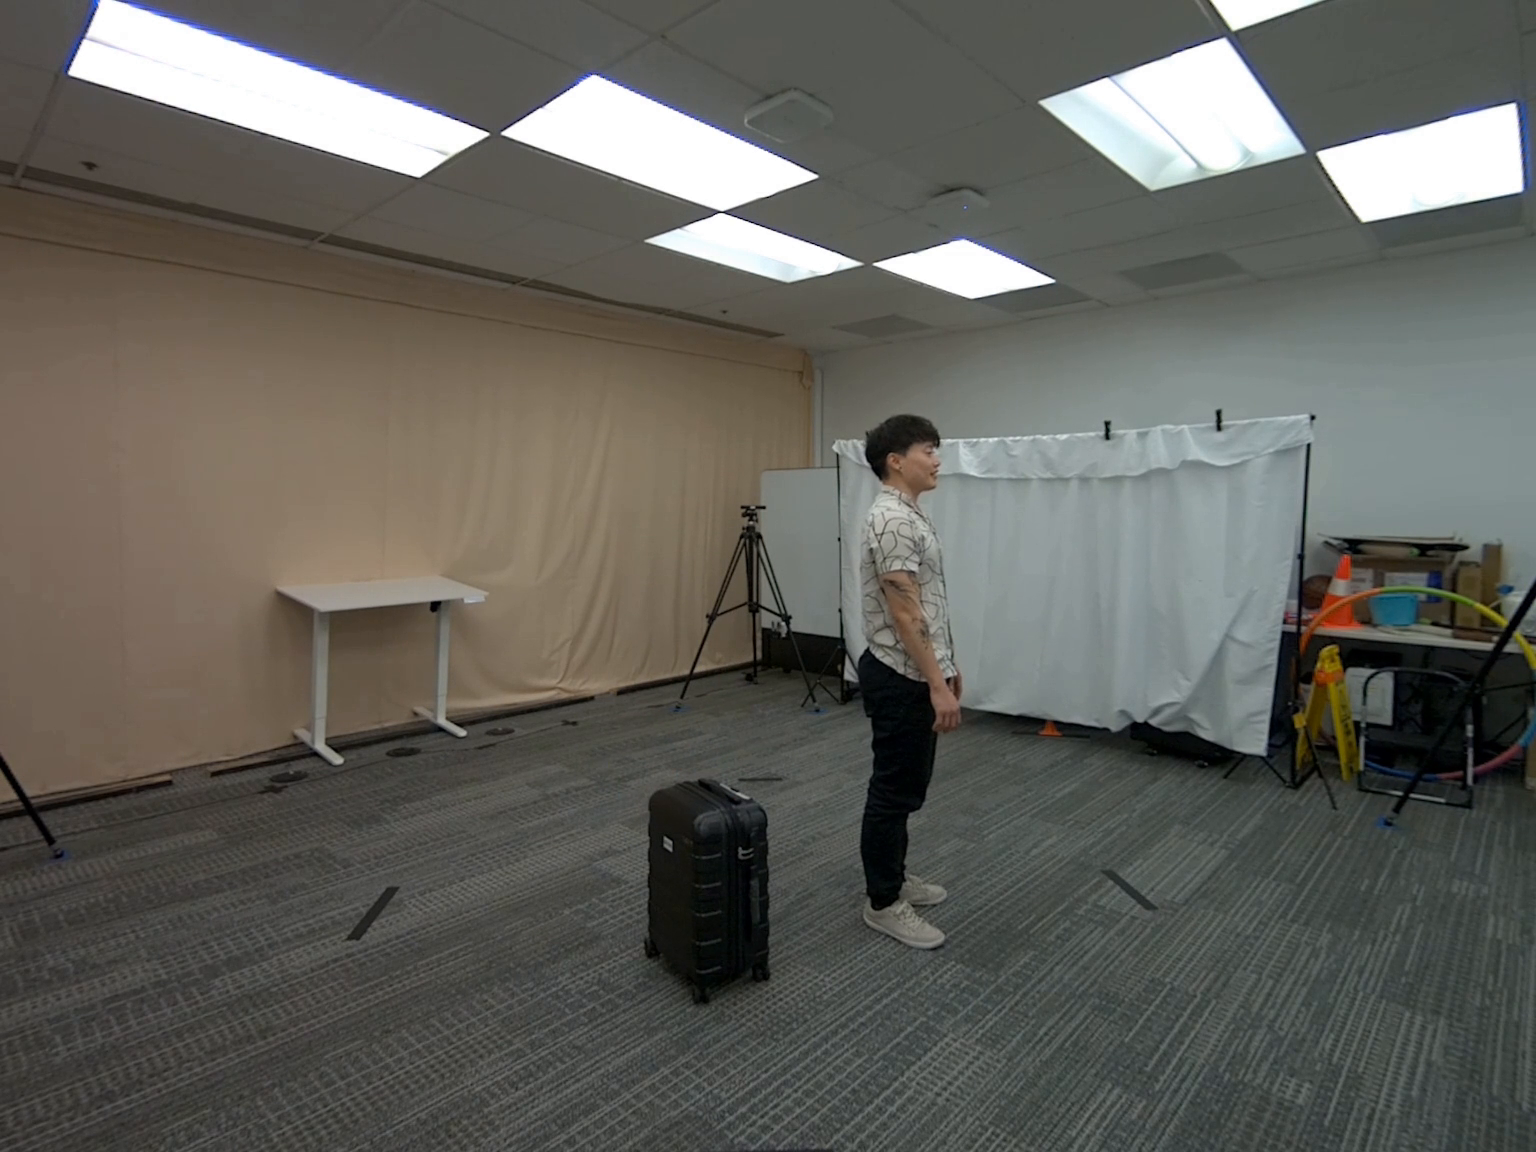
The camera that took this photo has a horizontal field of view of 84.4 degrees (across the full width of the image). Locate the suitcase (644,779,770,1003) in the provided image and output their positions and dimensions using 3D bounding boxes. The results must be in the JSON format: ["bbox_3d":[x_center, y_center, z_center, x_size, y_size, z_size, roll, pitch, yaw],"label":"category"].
[{"bbox_3d":[-0.180,0.909,2.499,0.241,0.548,0.387,-2,6,-34],"label":"suitcase"}]
